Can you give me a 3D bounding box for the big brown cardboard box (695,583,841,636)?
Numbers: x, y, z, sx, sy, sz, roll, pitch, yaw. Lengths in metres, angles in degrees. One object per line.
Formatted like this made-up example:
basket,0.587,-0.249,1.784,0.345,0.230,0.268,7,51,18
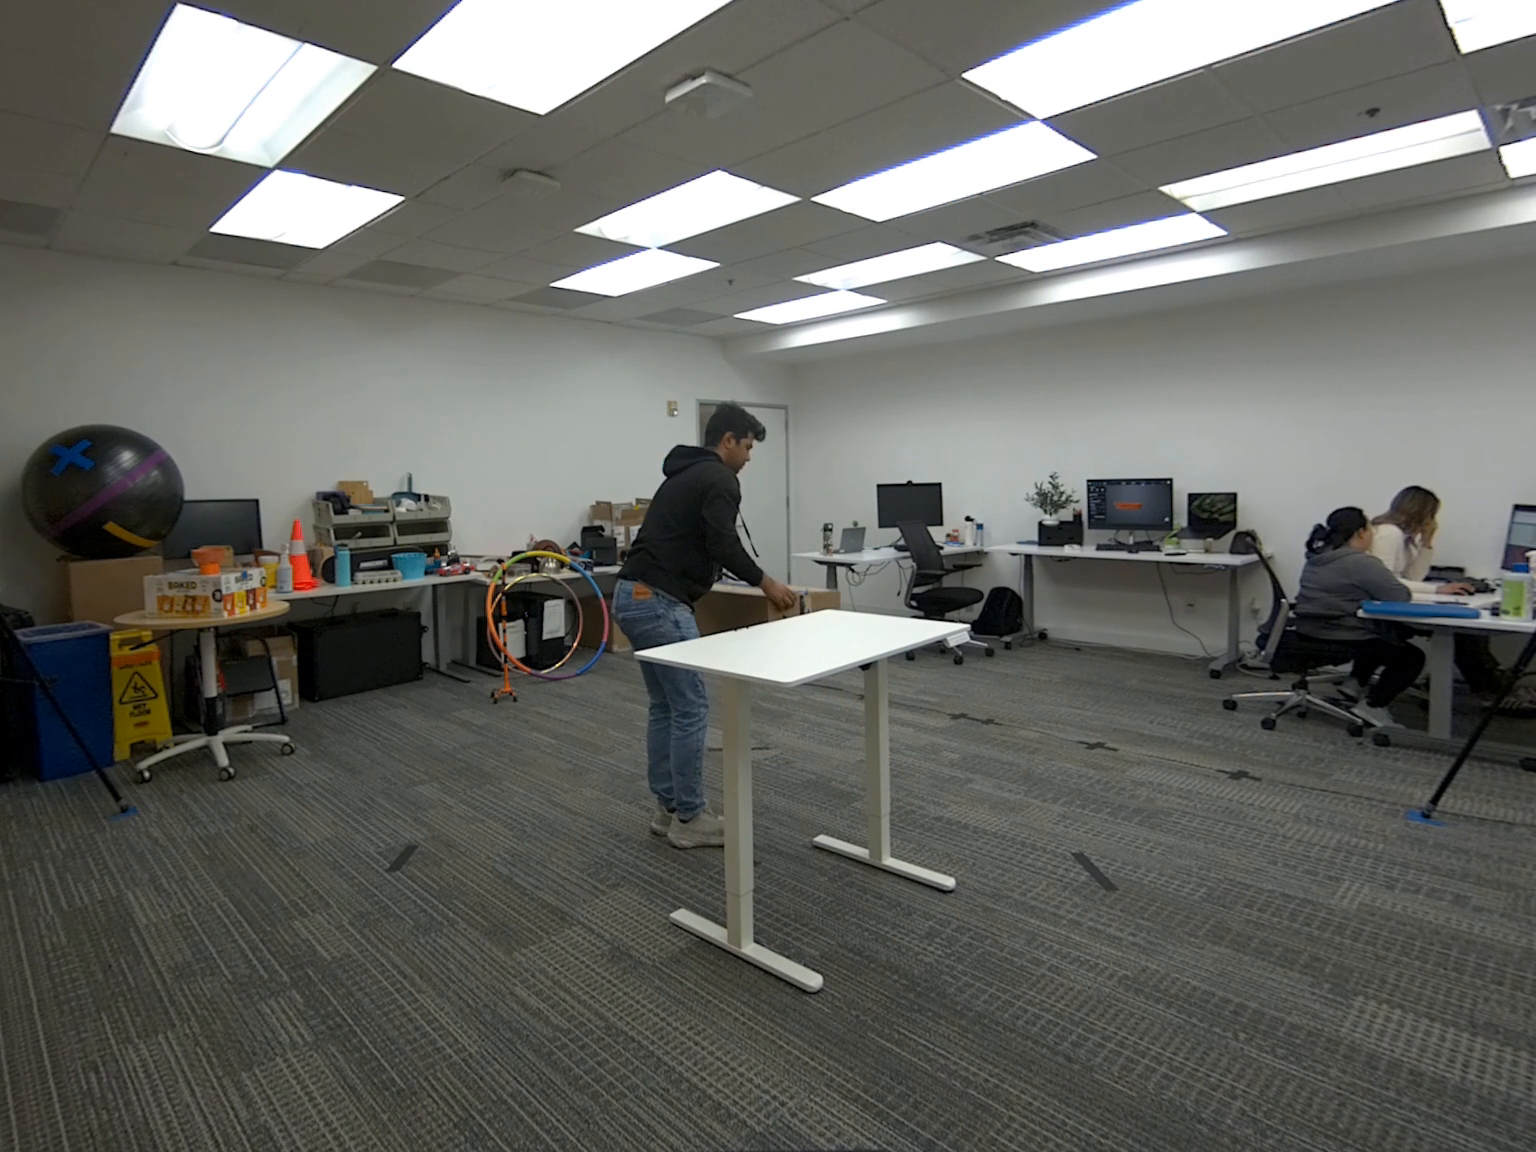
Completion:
big brown cardboard box,-0.032,0.171,3.697,0.406,0.232,0.607,-3,6,-42
